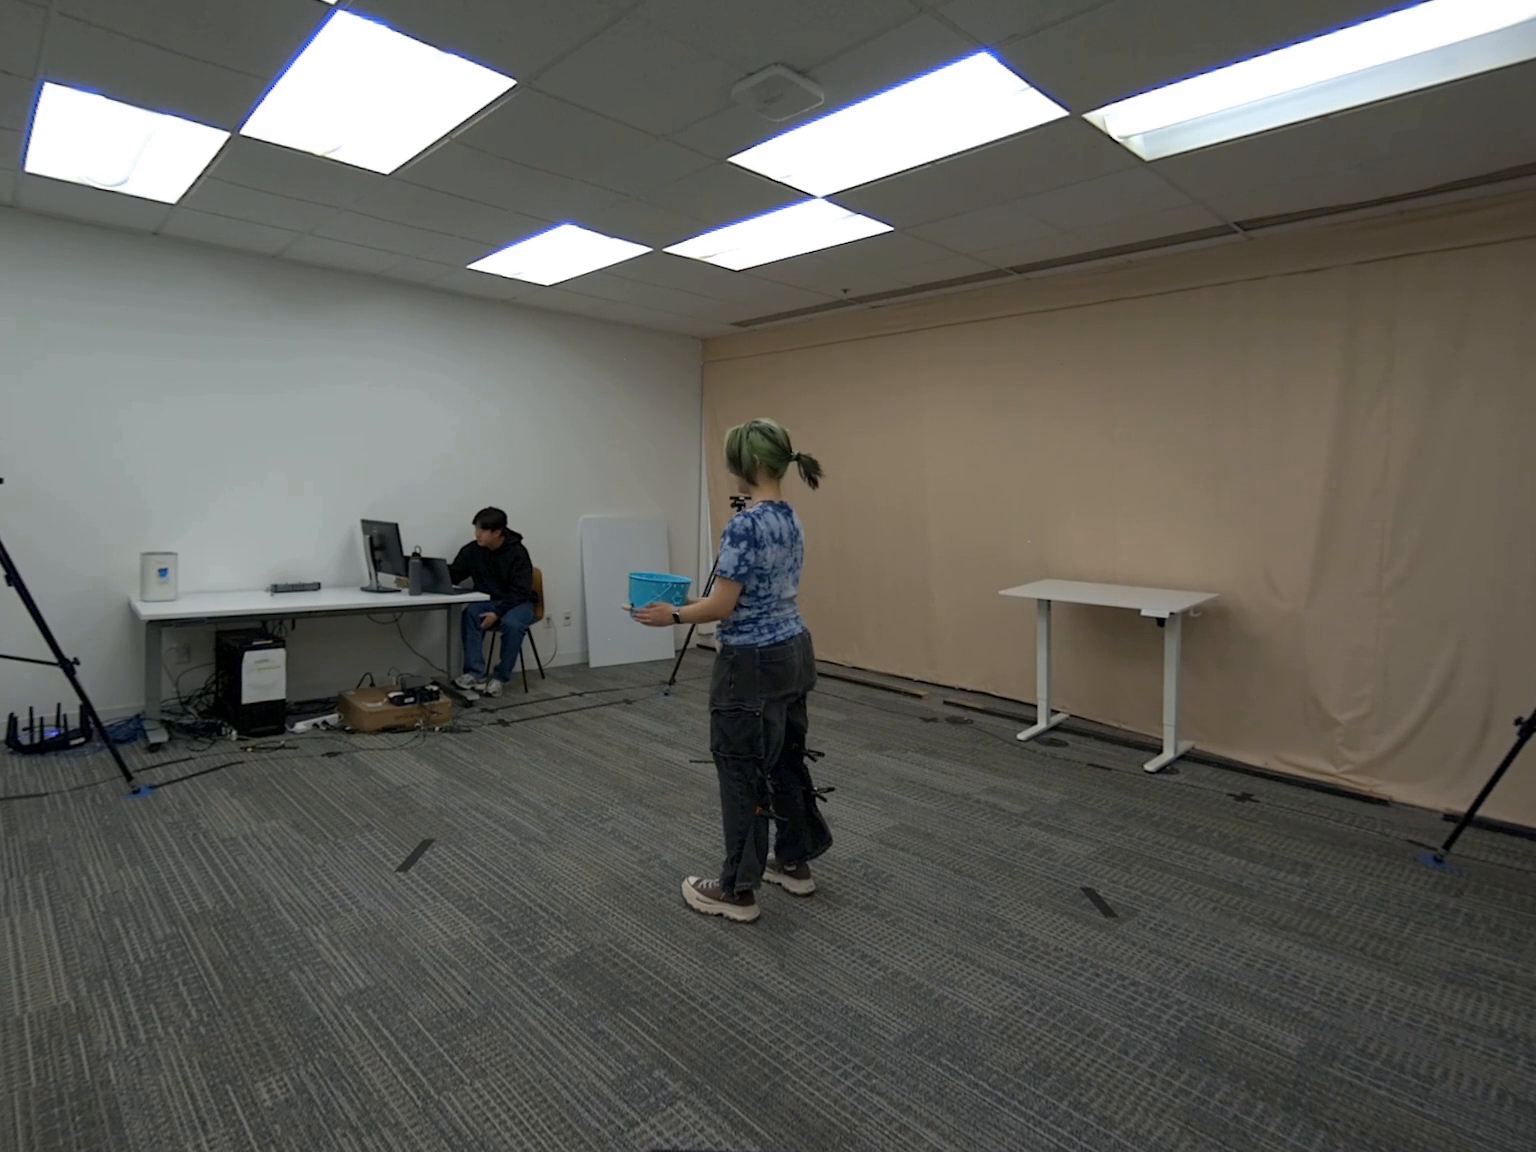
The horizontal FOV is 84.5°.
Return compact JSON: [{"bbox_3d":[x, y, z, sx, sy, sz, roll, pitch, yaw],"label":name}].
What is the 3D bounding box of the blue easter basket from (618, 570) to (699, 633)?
[{"bbox_3d":[-0.383,0.084,2.983,0.243,0.155,0.244,7,5,-2],"label":"blue easter basket"}]
